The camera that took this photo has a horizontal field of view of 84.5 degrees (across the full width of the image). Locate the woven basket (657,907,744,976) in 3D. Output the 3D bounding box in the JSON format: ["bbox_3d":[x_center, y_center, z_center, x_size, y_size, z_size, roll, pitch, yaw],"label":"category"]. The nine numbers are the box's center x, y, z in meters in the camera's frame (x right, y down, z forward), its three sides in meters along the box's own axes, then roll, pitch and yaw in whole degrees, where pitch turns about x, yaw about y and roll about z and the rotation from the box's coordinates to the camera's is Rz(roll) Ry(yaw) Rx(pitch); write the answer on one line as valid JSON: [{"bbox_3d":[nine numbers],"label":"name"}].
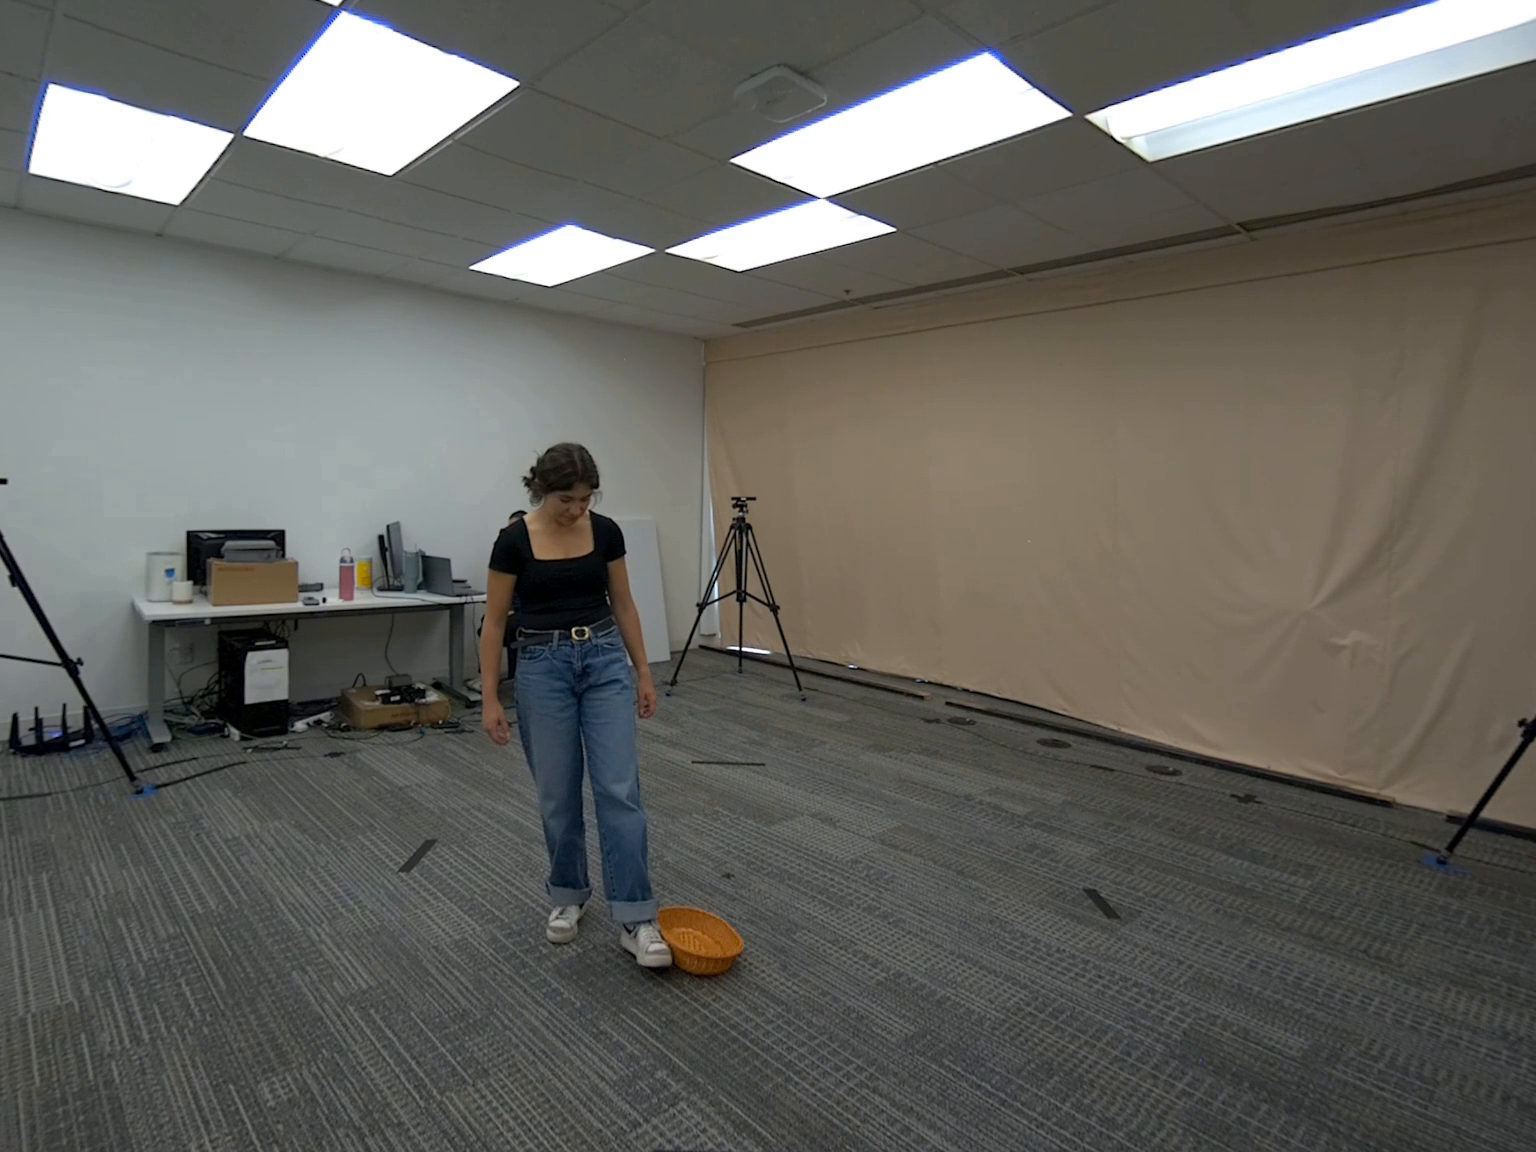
[{"bbox_3d":[-0.221,1.107,2.556,0.247,0.073,0.357,9,0,-26],"label":"woven basket"}]
